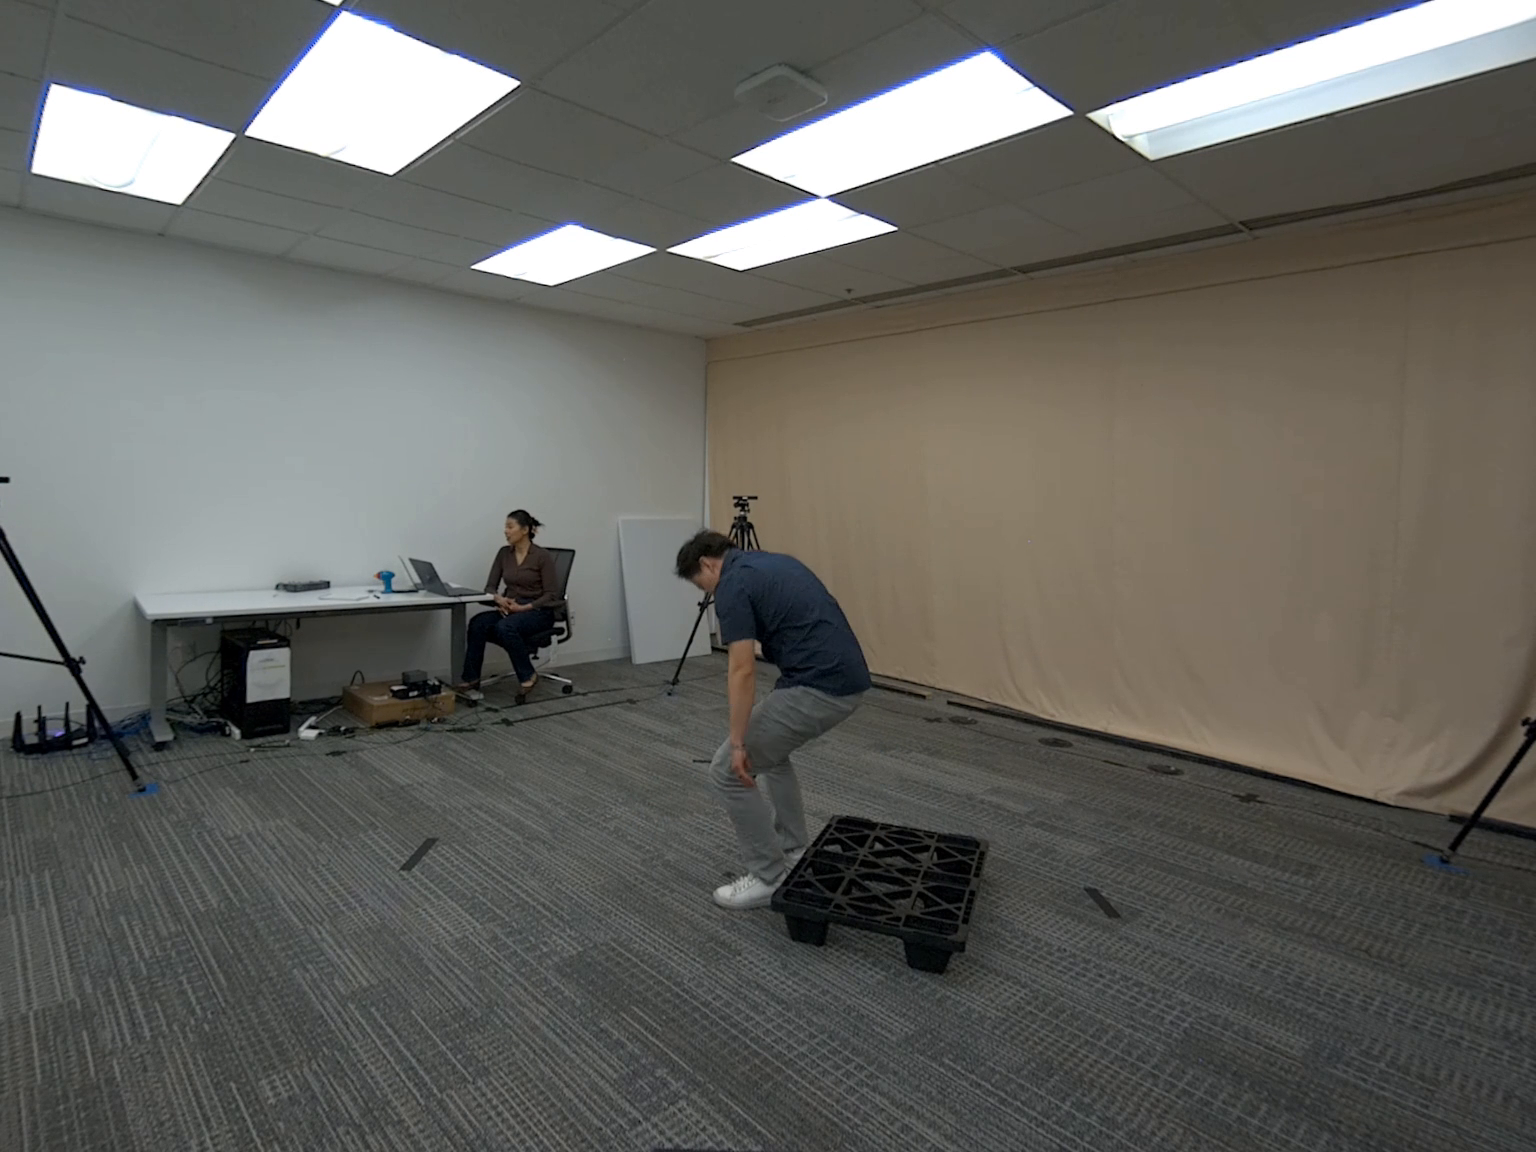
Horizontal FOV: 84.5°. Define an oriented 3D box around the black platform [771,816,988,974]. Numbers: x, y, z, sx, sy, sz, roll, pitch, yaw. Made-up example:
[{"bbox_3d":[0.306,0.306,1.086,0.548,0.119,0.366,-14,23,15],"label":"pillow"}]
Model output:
[{"bbox_3d":[0.404,1.068,2.895,0.615,0.143,0.794,3,5,20],"label":"black platform"}]
